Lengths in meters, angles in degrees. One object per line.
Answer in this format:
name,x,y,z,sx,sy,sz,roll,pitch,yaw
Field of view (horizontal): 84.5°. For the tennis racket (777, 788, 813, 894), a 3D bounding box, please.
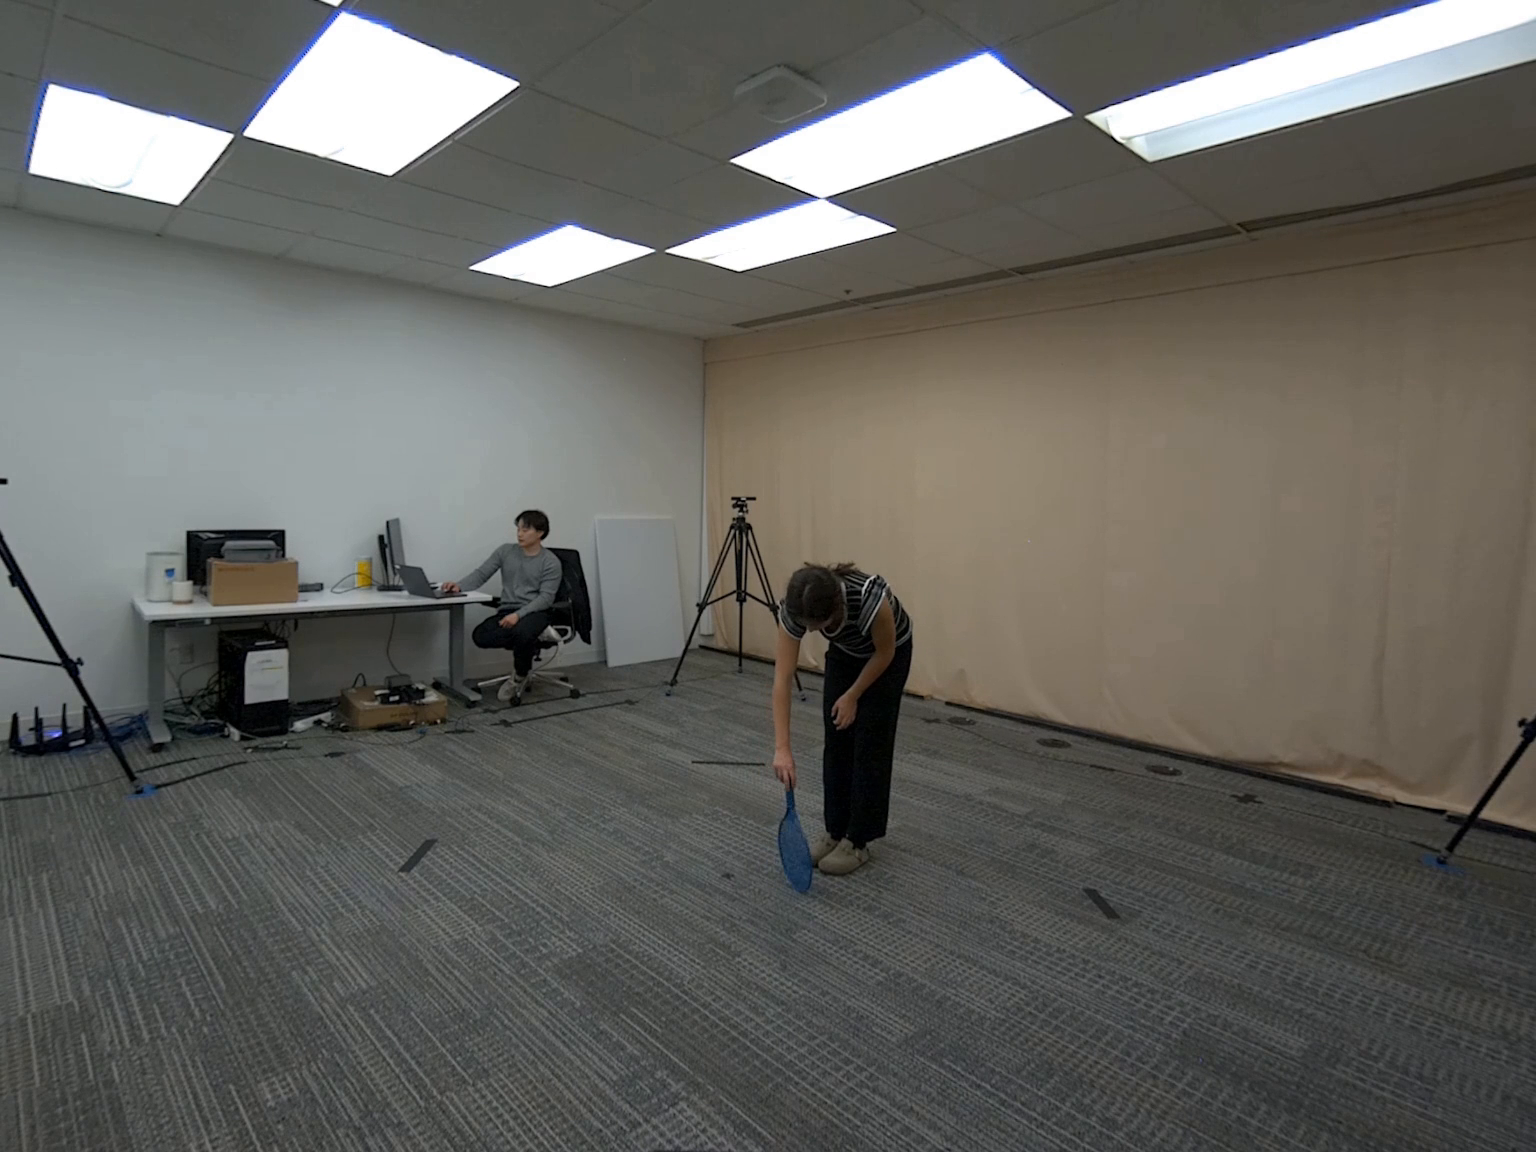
tennis racket,0.080,0.904,2.989,0.031,0.432,0.218,-7,3,-29
